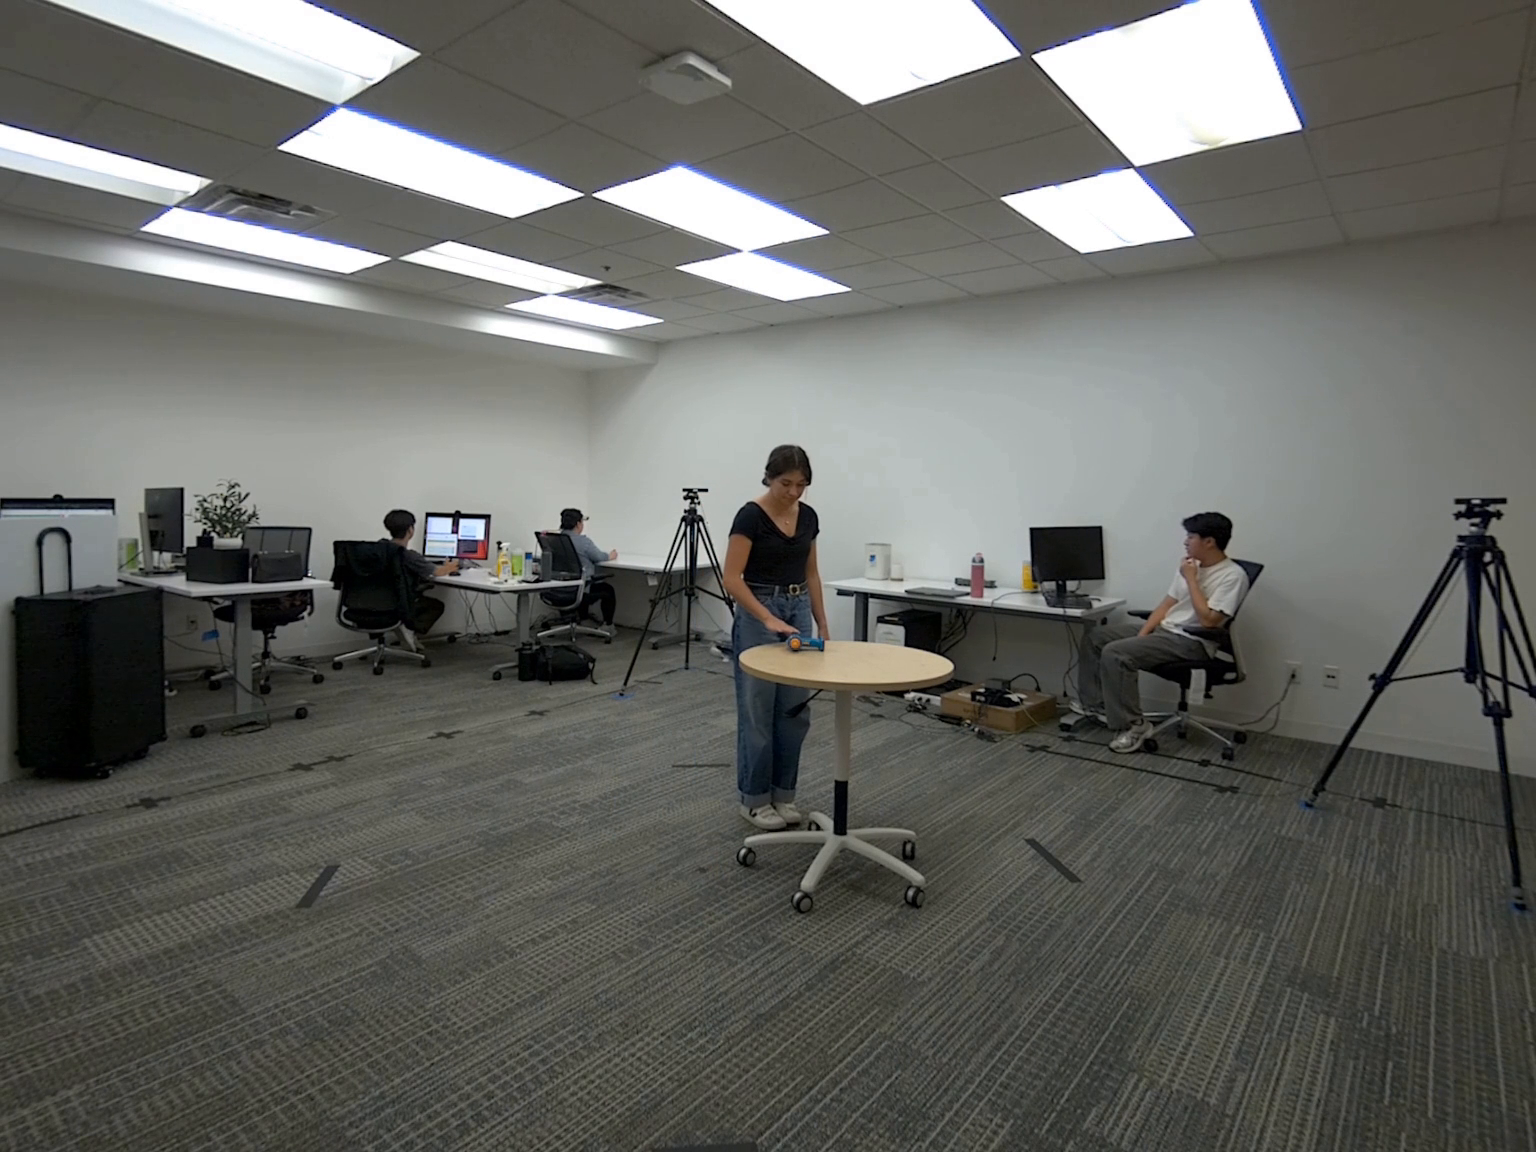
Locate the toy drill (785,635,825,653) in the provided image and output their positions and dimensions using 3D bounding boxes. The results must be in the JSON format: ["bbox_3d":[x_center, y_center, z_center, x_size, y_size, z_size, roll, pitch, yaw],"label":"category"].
[{"bbox_3d":[0.138,0.246,3.223,0.146,0.061,0.169,4,0,0],"label":"toy drill"}]
